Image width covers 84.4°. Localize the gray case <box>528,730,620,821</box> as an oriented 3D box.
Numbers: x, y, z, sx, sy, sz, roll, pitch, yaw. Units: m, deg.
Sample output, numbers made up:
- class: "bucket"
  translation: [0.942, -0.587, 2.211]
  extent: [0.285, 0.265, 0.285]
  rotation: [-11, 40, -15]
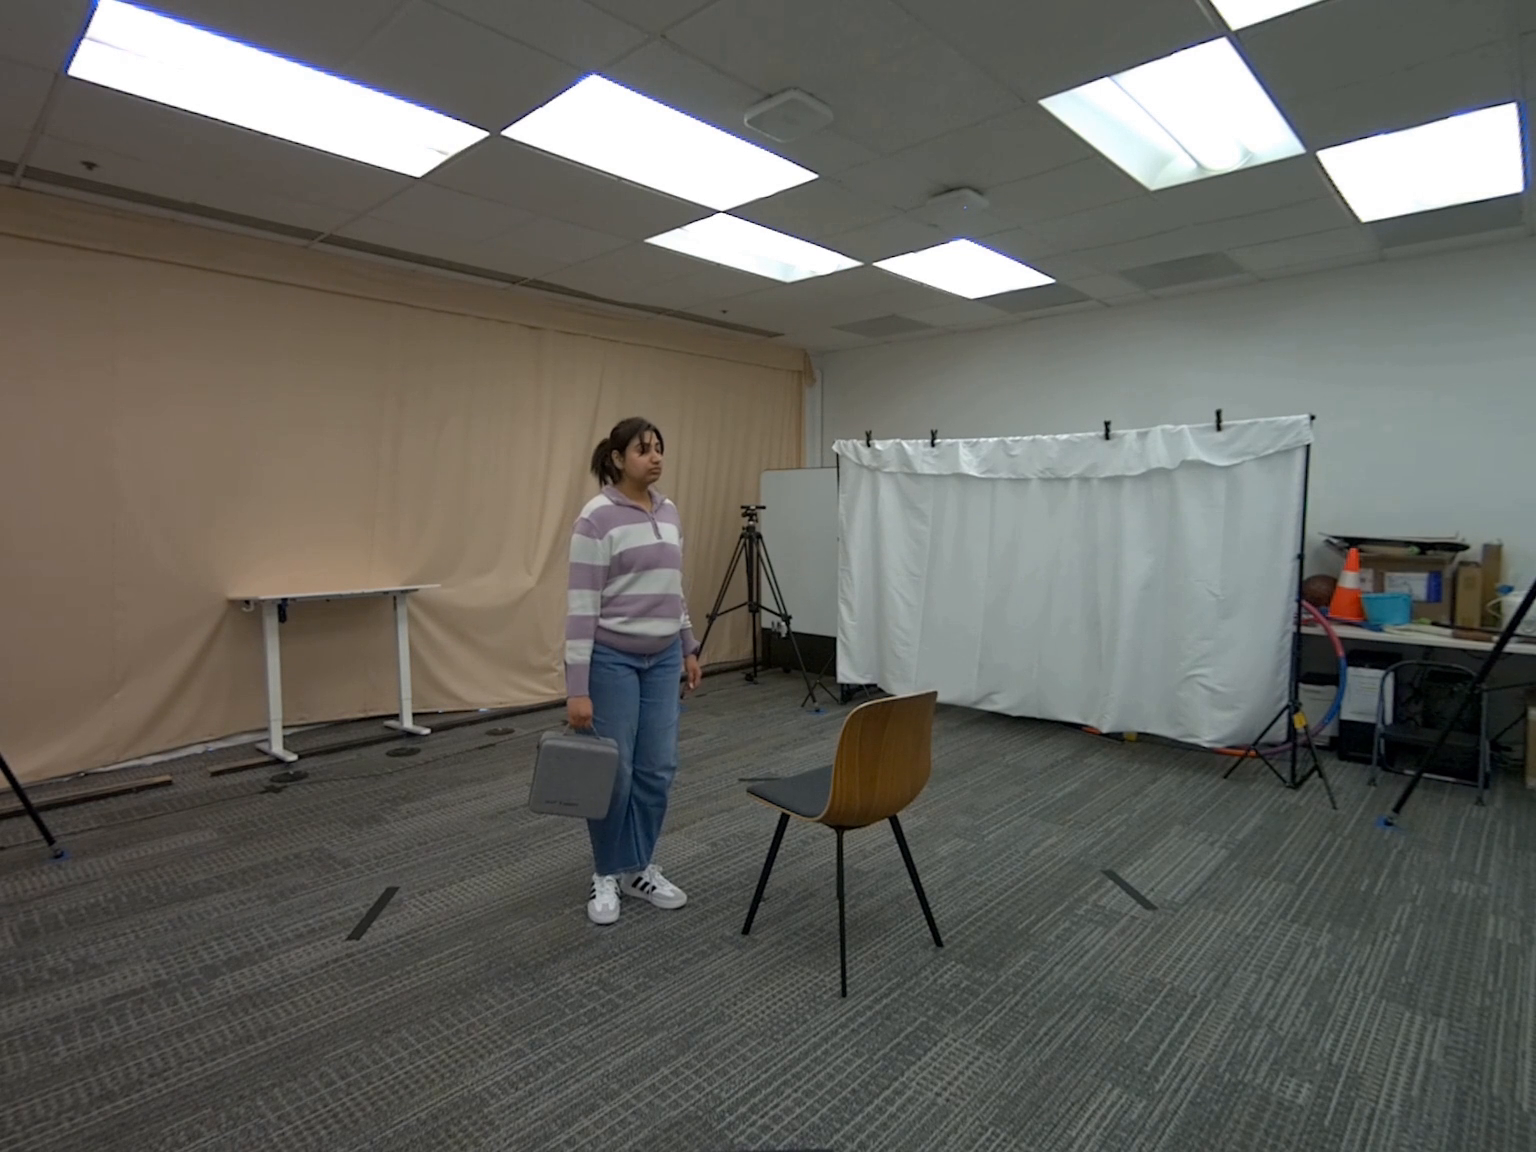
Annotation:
- class: "gray case"
  translation: [-0.621, 0.631, 2.683]
  extent: [0.253, 0.260, 0.106]
  rotation: [11, 9, -14]
